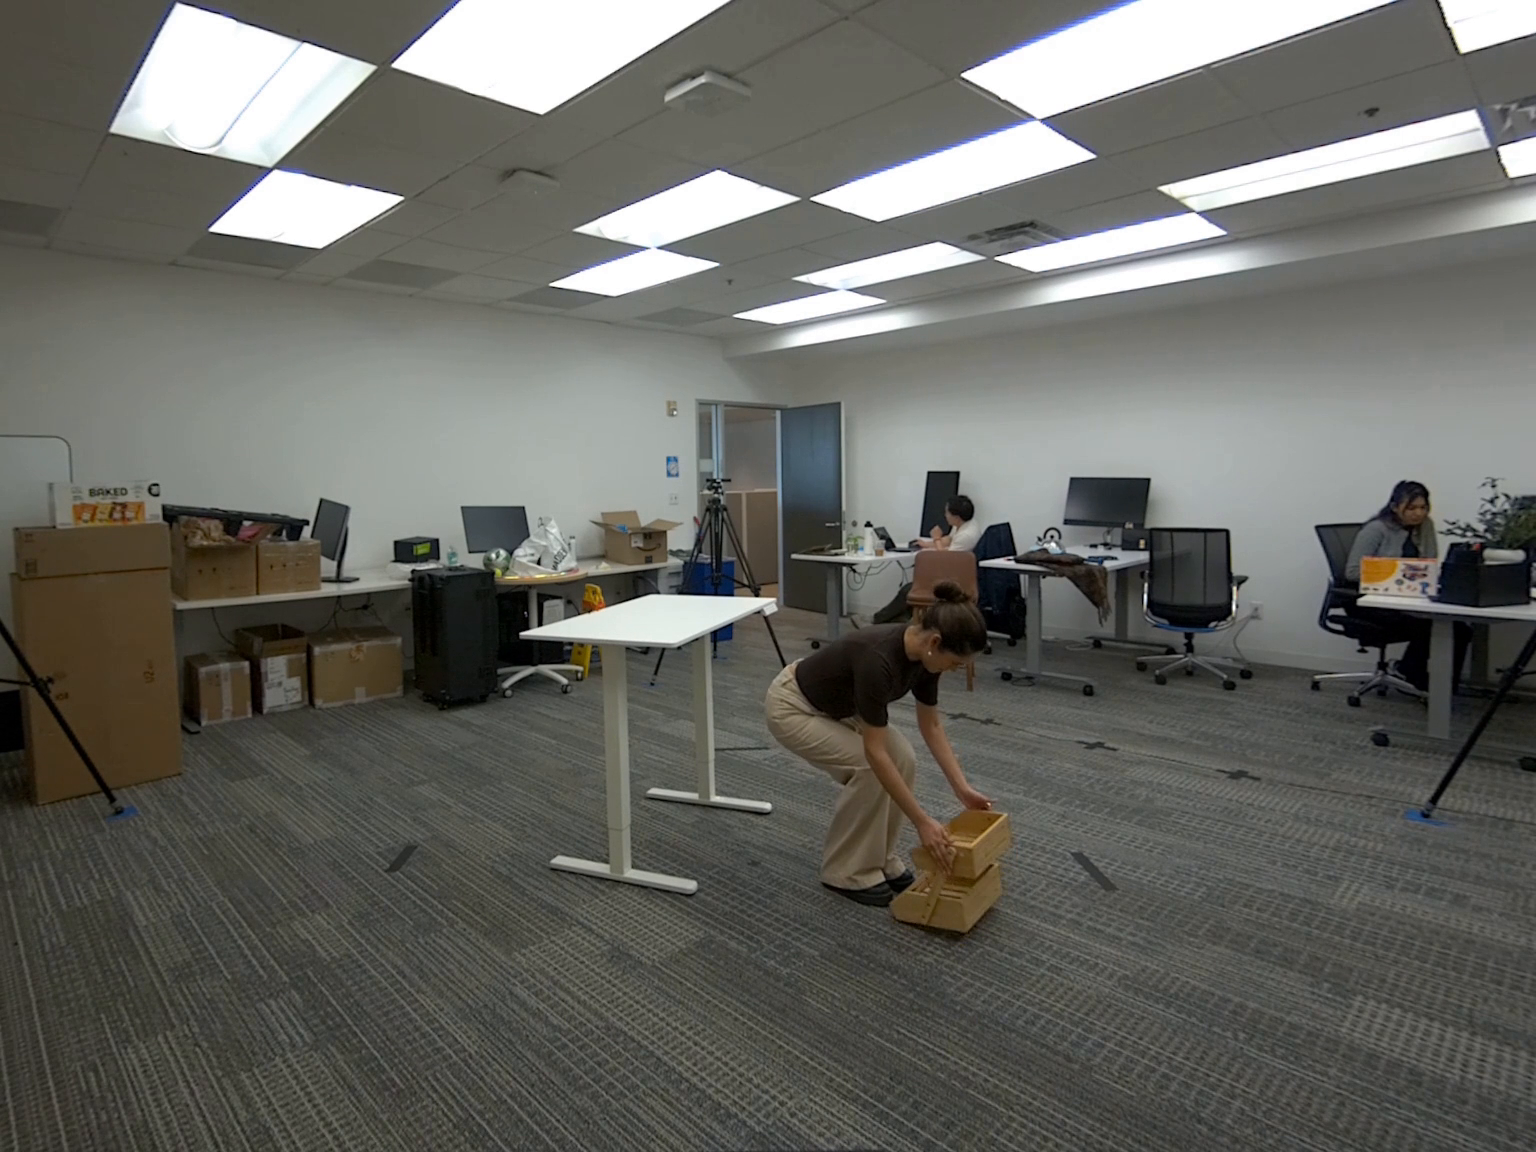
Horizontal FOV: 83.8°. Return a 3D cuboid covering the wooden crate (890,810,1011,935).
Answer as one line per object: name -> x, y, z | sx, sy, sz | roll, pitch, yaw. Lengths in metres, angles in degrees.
wooden crate -> 0.571, 0.898, 2.706 | 0.310, 0.273, 0.316 | -5, 2, 38
